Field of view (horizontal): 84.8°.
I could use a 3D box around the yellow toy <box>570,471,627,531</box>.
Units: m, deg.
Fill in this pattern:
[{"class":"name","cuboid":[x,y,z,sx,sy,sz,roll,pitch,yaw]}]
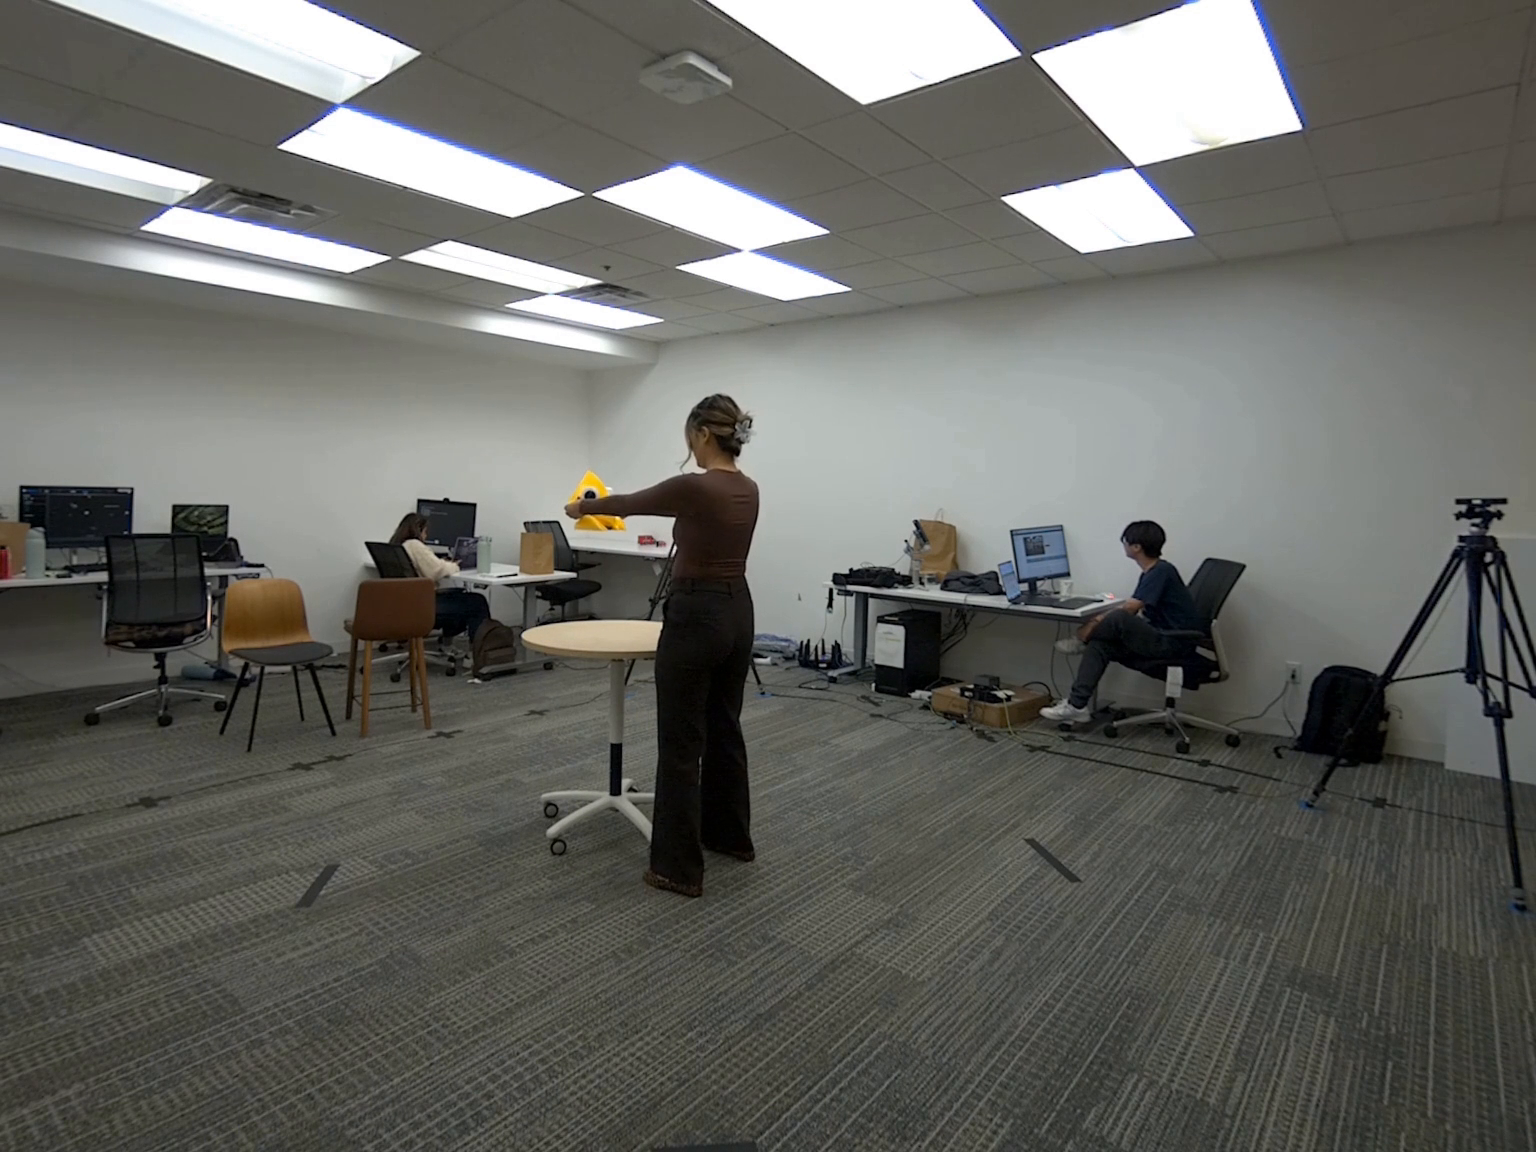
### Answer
[{"class":"yellow toy","cuboid":[-0.678,-0.302,3.338,0.199,0.230,0.199,5,5,34]}]
